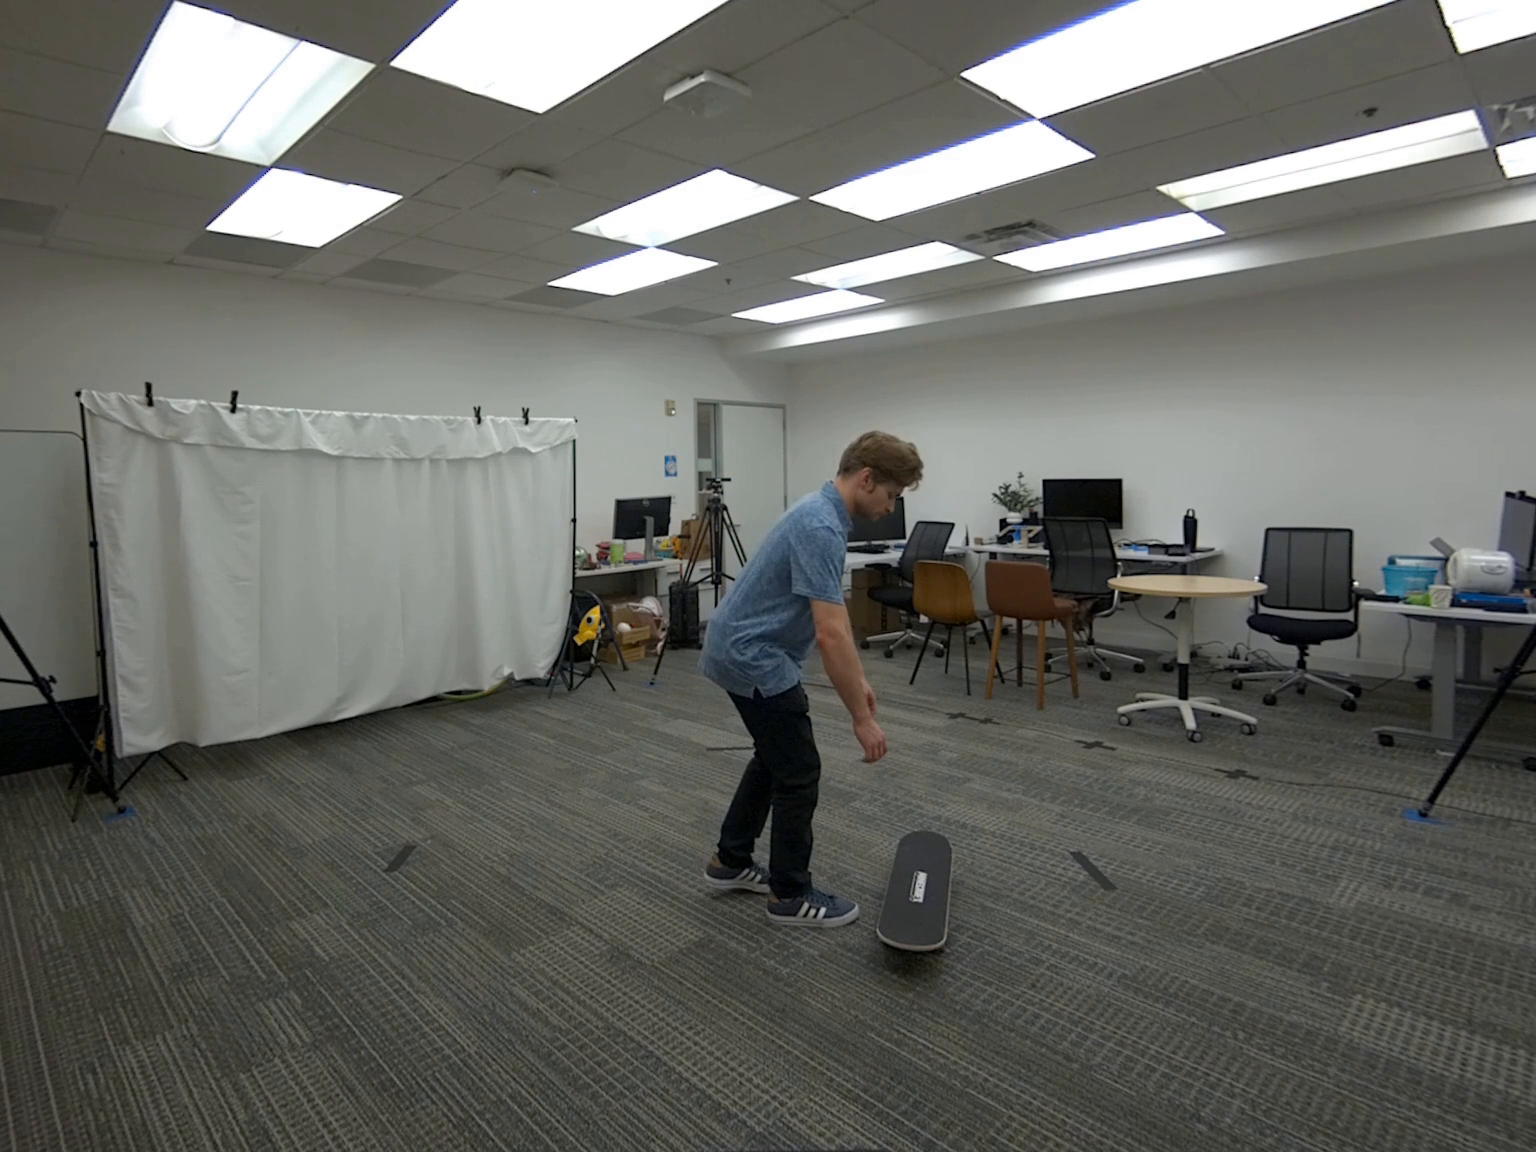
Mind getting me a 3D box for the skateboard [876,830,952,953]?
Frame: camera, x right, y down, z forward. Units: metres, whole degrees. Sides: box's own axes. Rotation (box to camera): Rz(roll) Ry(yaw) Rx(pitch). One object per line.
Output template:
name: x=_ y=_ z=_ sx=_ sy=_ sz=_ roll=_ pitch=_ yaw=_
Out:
skateboard: x=0.479 y=1.016 z=2.724 sx=0.196 sy=0.110 sz=0.778 roll=0 pitch=7 yaw=14
